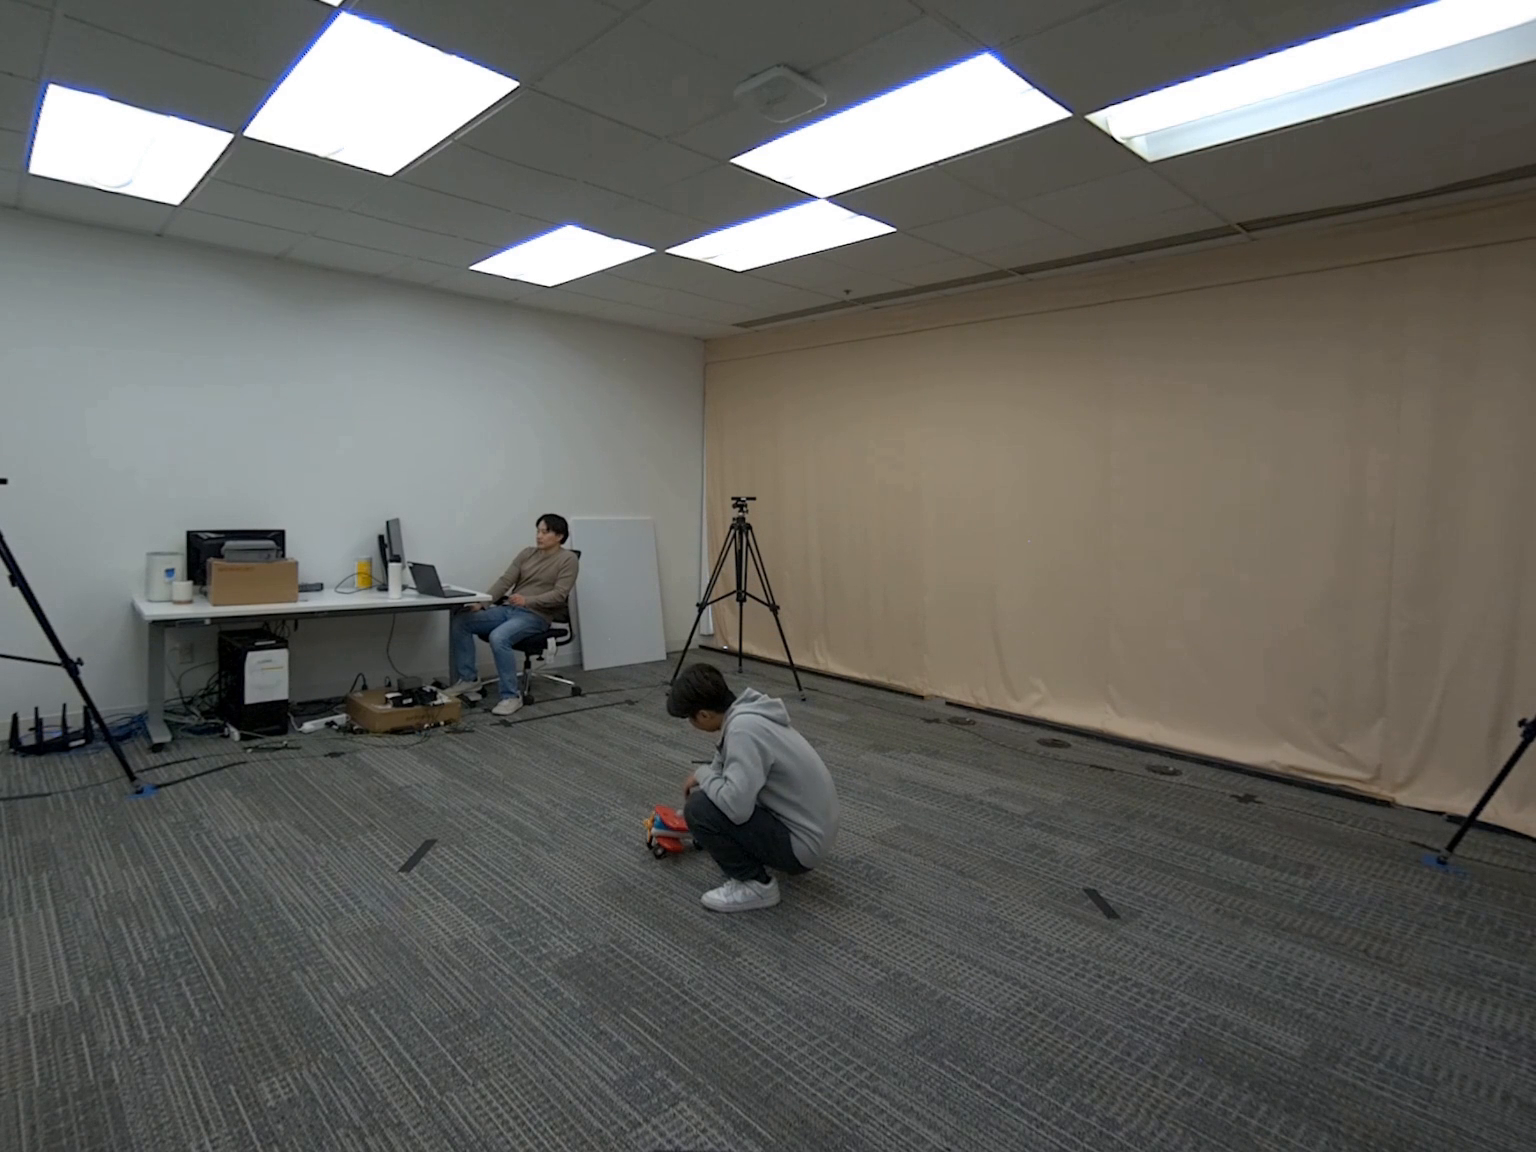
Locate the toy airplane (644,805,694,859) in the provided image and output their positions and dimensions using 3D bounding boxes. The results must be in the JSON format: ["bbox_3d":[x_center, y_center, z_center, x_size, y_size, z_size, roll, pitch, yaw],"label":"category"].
[{"bbox_3d":[-0.370,0.996,3.333,0.257,0.156,0.253,3,3,44],"label":"toy airplane"}]
